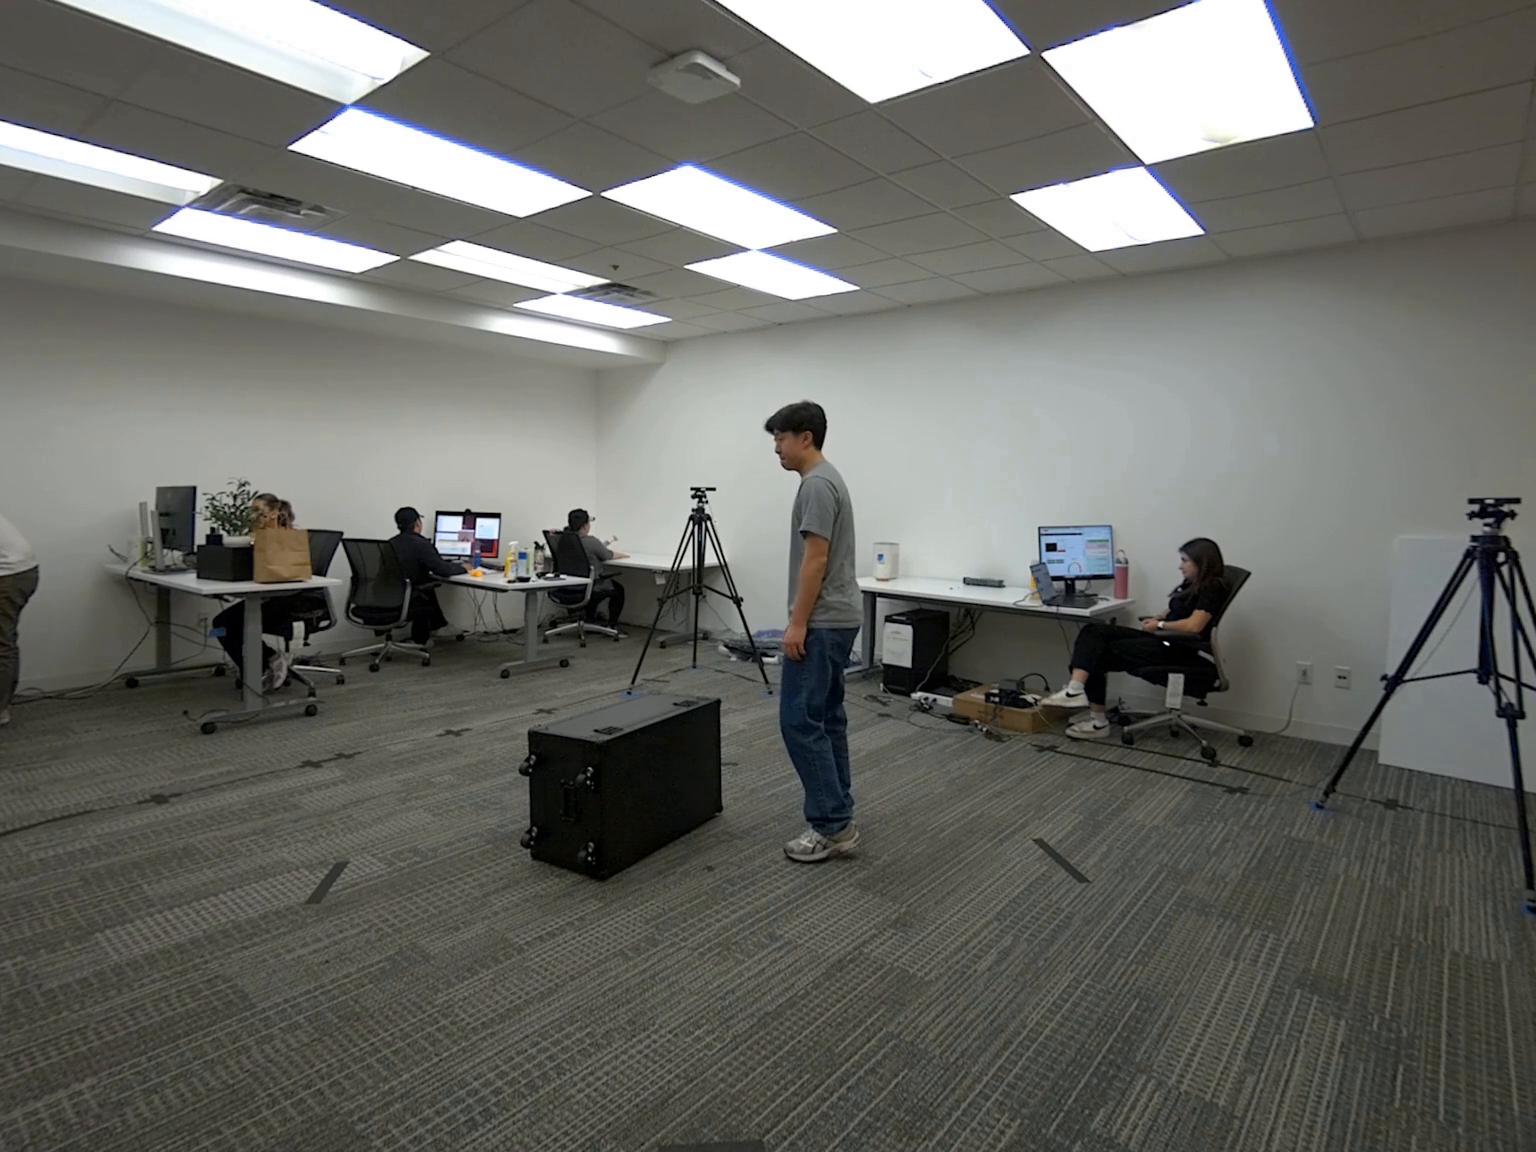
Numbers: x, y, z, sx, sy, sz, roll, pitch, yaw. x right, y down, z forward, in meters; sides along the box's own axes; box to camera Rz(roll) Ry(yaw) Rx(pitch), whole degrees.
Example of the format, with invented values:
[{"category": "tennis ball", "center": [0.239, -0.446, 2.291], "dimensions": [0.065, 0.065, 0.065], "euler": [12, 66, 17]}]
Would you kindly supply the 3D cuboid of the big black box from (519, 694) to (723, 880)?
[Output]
[{"category": "big black box", "center": [-0.574, 0.779, 3.359], "dimensions": [0.408, 0.520, 0.839], "euler": [1, 4, 30]}]
